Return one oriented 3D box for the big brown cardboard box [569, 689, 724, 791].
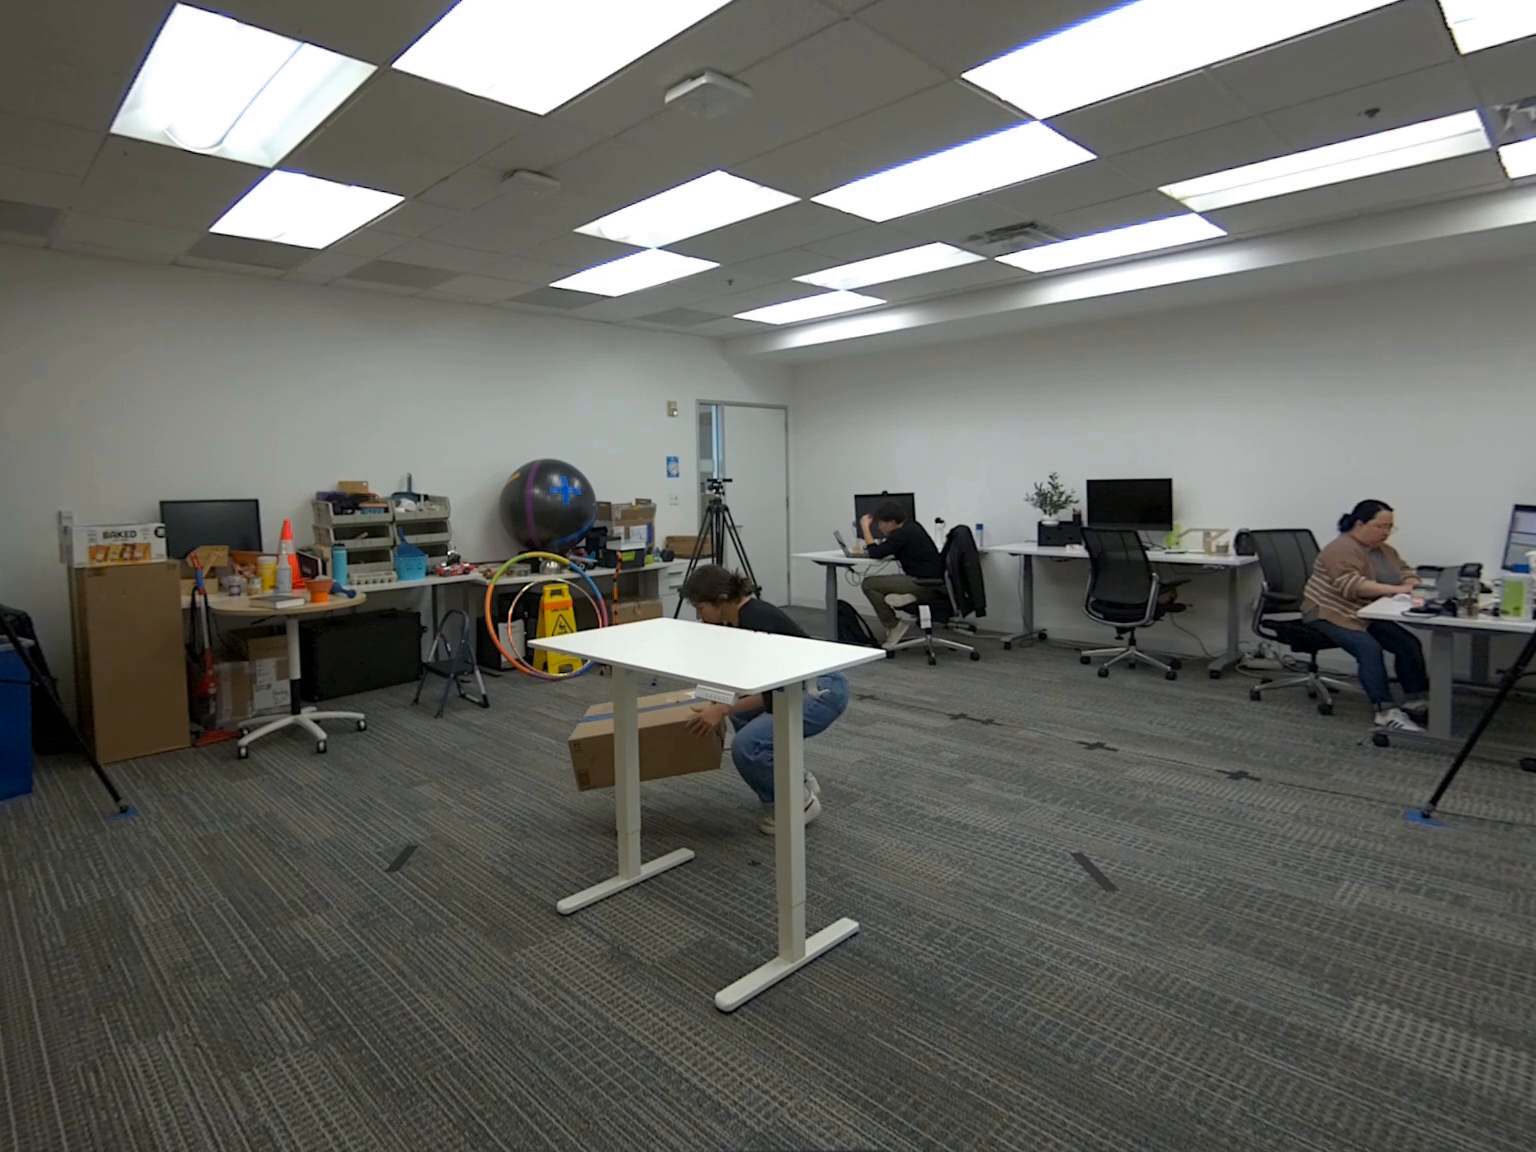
[{"bbox_3d":[-0.472,0.651,3.497,0.590,0.231,0.420,-11,9,3],"label":"big brown cardboard box"}]
